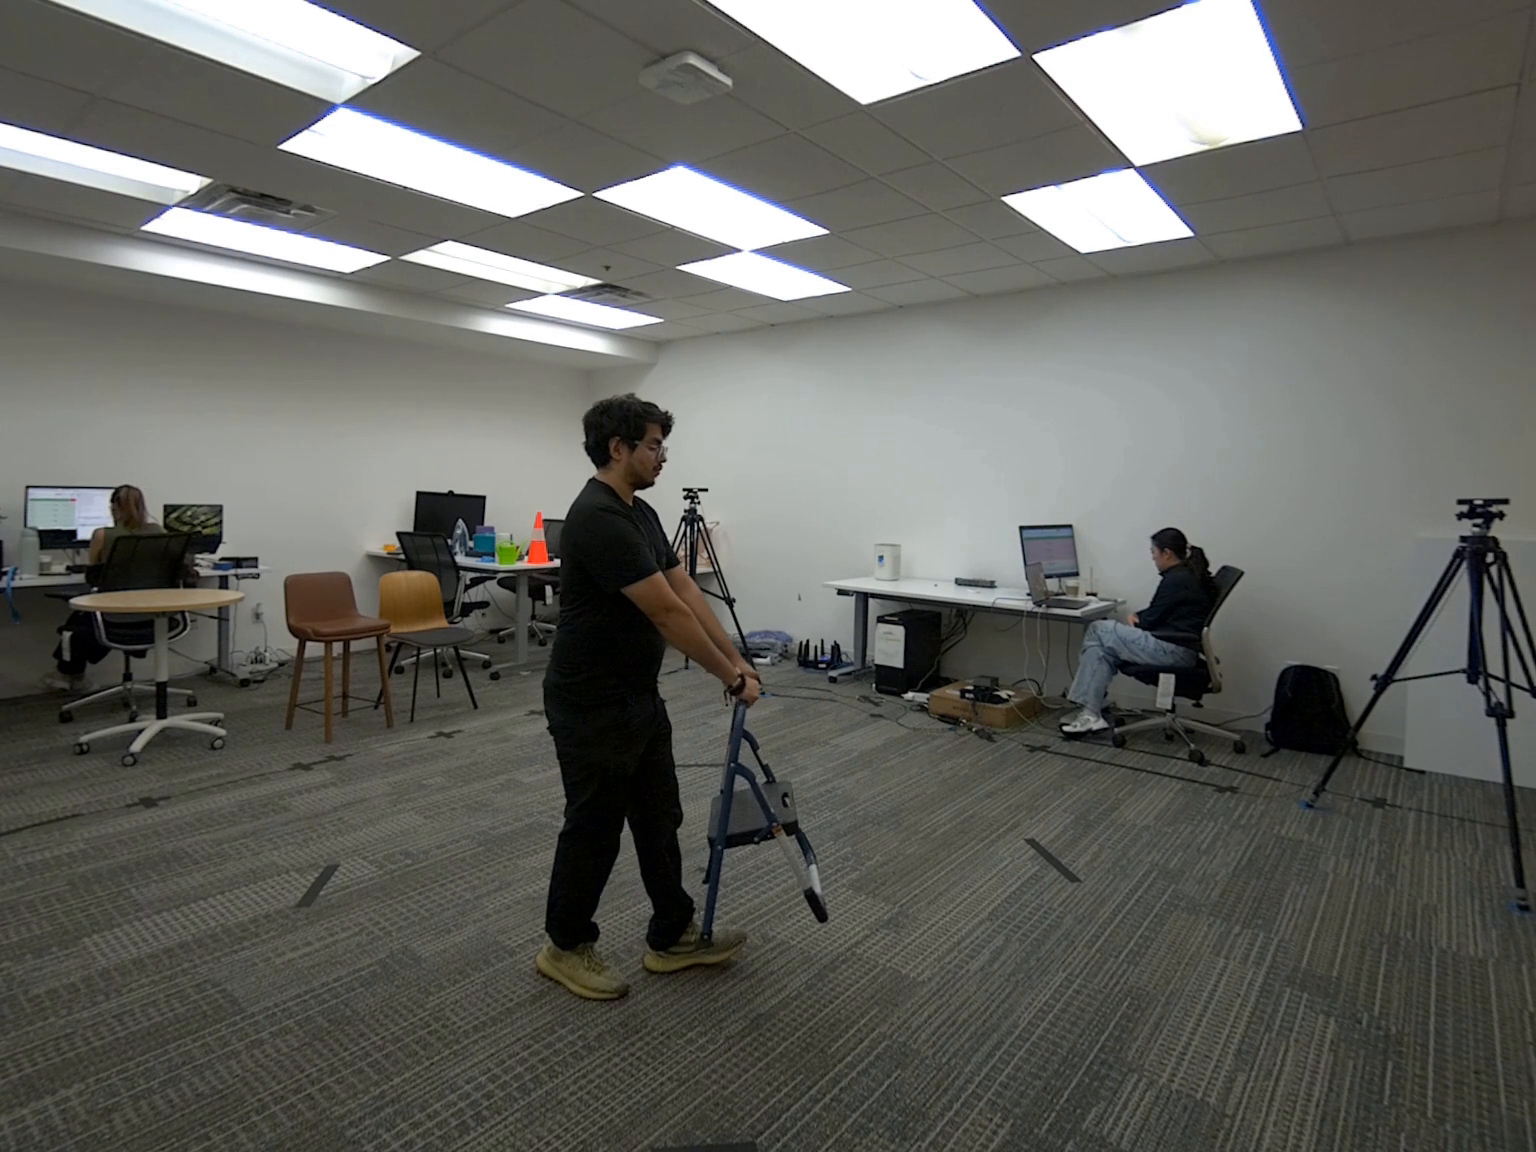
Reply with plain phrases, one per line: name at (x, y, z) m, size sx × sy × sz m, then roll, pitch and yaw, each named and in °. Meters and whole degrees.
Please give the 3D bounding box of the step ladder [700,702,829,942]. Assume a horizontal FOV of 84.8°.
step ladder at (-0.087, 0.621, 2.360) m, size 0.350 × 0.605 × 0.431 m, roll -12°, pitch 3°, yaw 1°
